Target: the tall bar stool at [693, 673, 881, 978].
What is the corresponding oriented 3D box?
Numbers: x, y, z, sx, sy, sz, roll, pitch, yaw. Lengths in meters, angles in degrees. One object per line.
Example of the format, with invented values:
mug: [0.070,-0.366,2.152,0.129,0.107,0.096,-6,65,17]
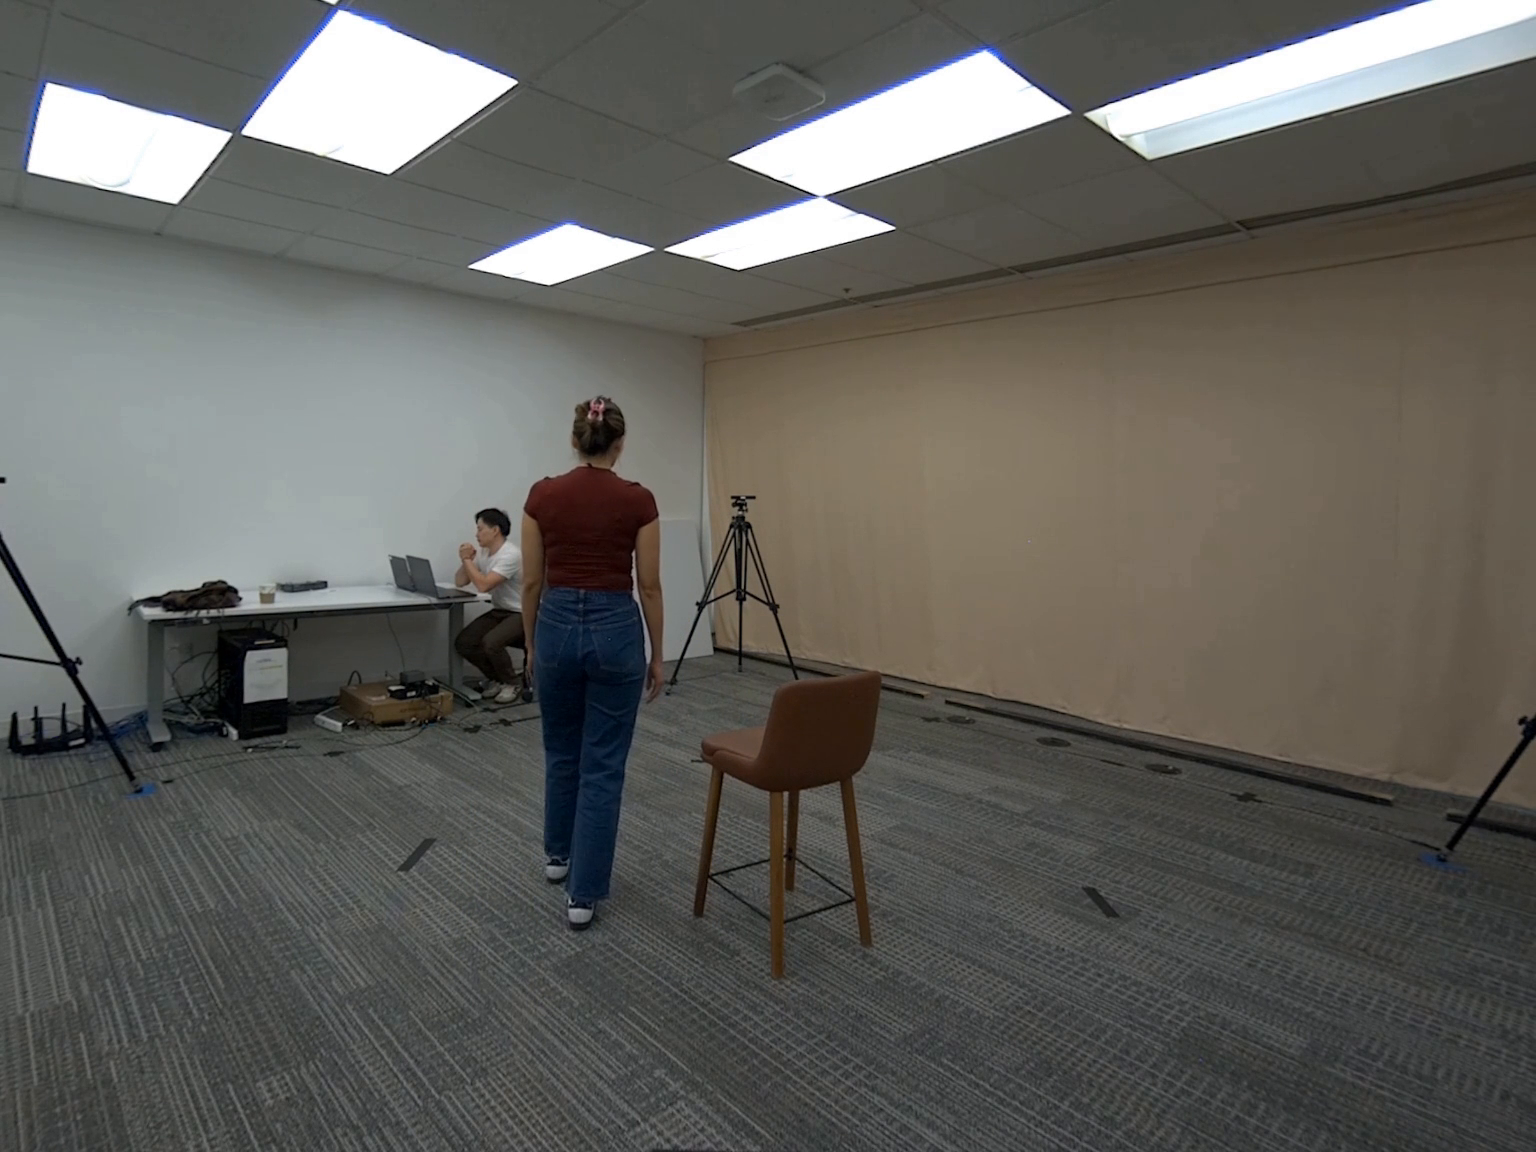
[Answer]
tall bar stool: [0.051,0.710,2.687,0.446,0.887,0.479,-2,6,-36]
